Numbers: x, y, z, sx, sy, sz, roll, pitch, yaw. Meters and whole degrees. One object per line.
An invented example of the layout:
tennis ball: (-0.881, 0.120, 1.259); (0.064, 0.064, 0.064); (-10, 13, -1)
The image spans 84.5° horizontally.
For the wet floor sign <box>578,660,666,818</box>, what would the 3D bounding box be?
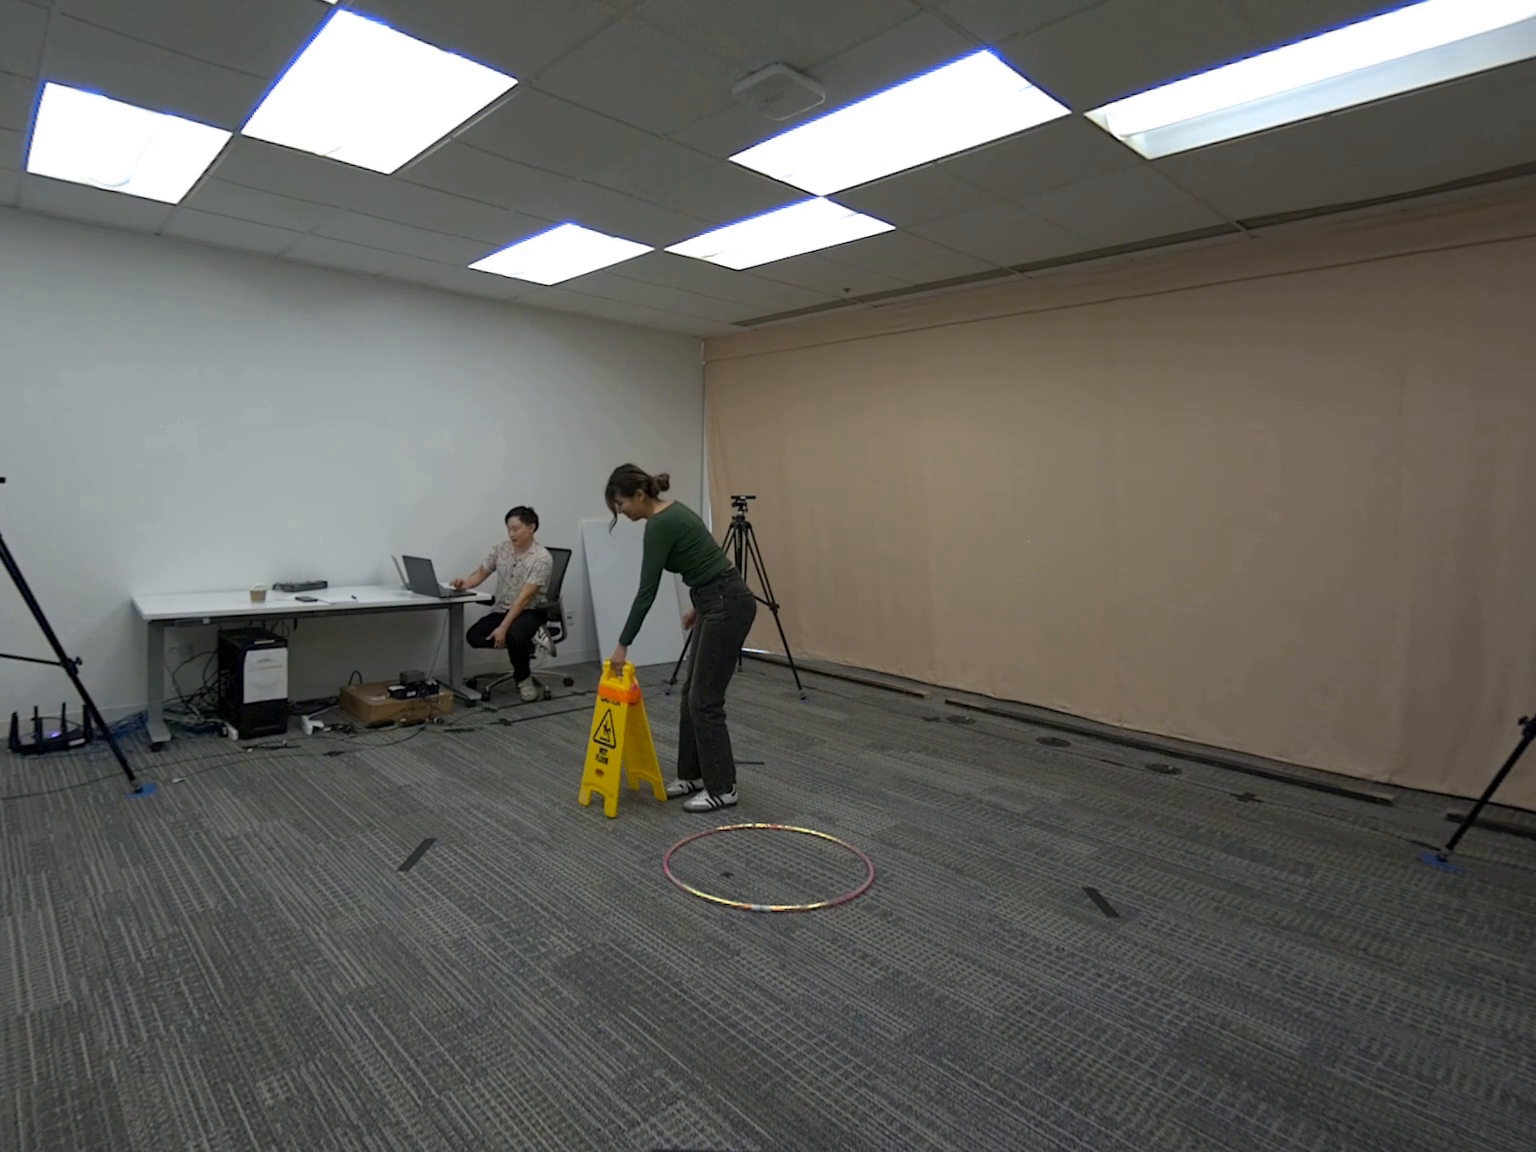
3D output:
wet floor sign: (-0.676, 0.689, 3.788); (0.283, 0.644, 0.289); (-3, 4, -44)
